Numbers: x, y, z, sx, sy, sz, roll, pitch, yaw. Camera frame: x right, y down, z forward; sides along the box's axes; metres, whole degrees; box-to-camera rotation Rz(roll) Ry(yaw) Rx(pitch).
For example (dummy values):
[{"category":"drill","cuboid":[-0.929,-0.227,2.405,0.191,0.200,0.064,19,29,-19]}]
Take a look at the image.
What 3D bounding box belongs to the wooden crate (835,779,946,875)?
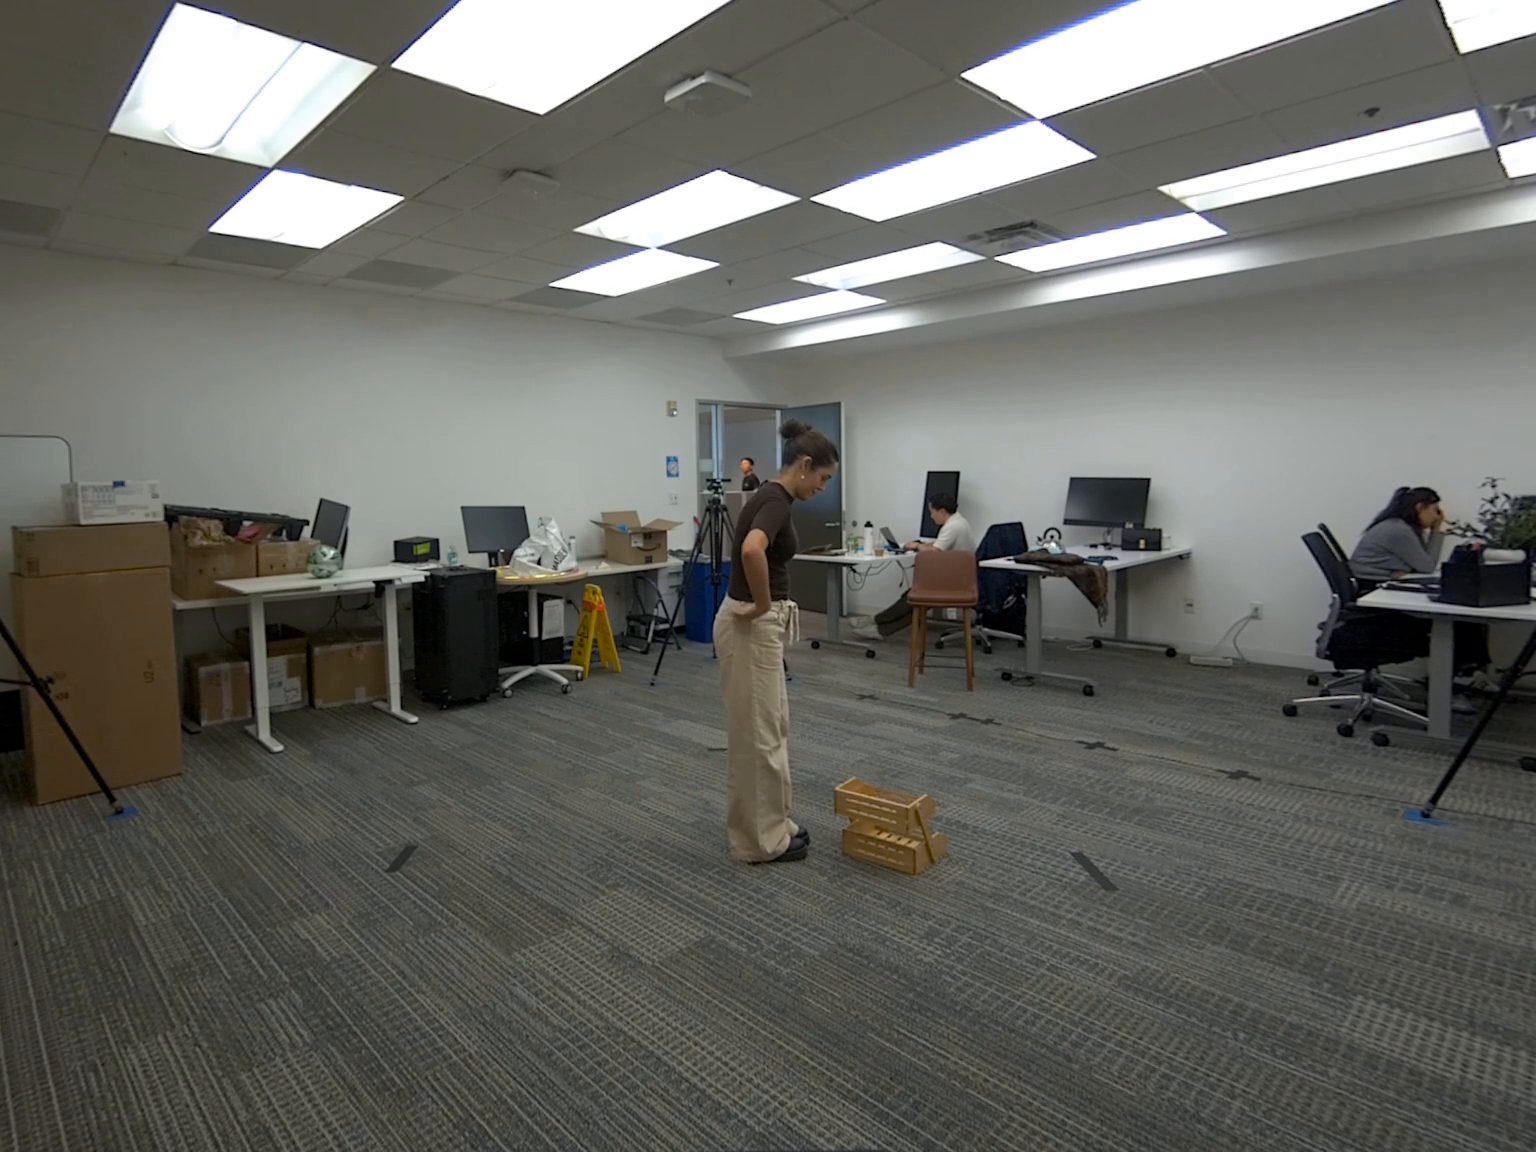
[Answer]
[{"category":"wooden crate","cuboid":[0.451,0.890,3.148,0.334,0.272,0.295,3,7,38]}]
